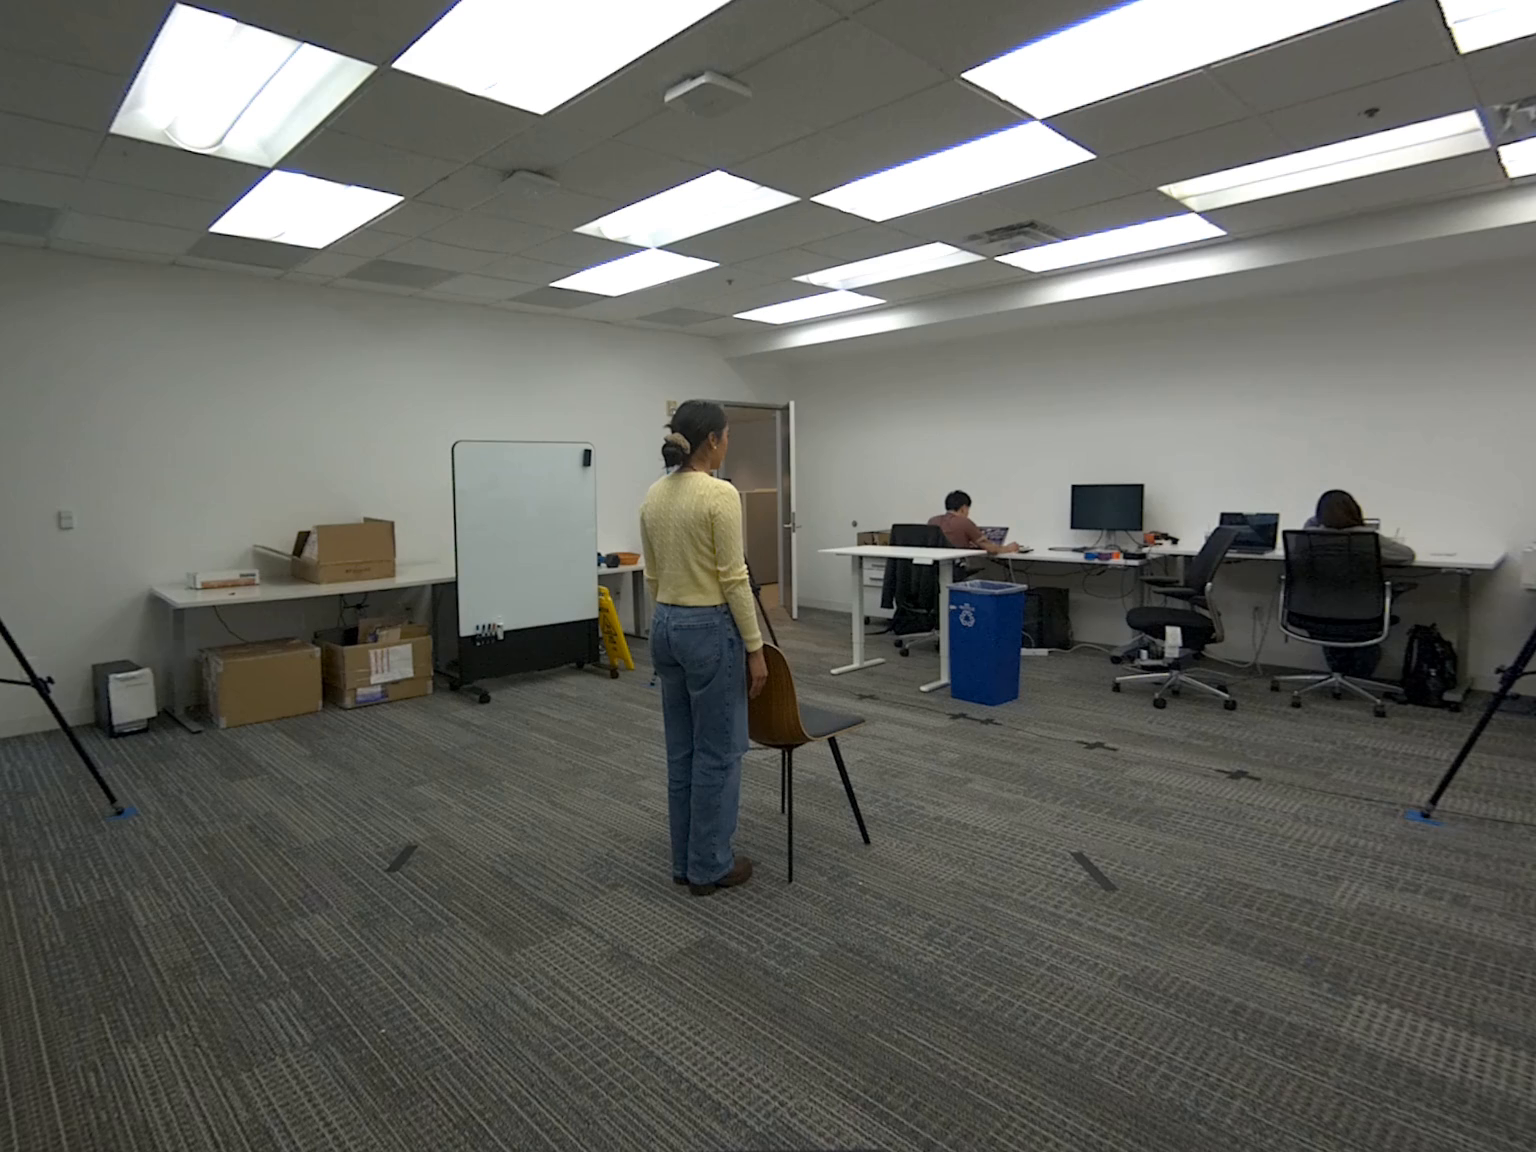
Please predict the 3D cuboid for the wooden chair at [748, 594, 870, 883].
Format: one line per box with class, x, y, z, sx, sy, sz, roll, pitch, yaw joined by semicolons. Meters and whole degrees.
wooden chair;0.073;0.600;3.239;0.493;0.871;0.511;3;10;45
